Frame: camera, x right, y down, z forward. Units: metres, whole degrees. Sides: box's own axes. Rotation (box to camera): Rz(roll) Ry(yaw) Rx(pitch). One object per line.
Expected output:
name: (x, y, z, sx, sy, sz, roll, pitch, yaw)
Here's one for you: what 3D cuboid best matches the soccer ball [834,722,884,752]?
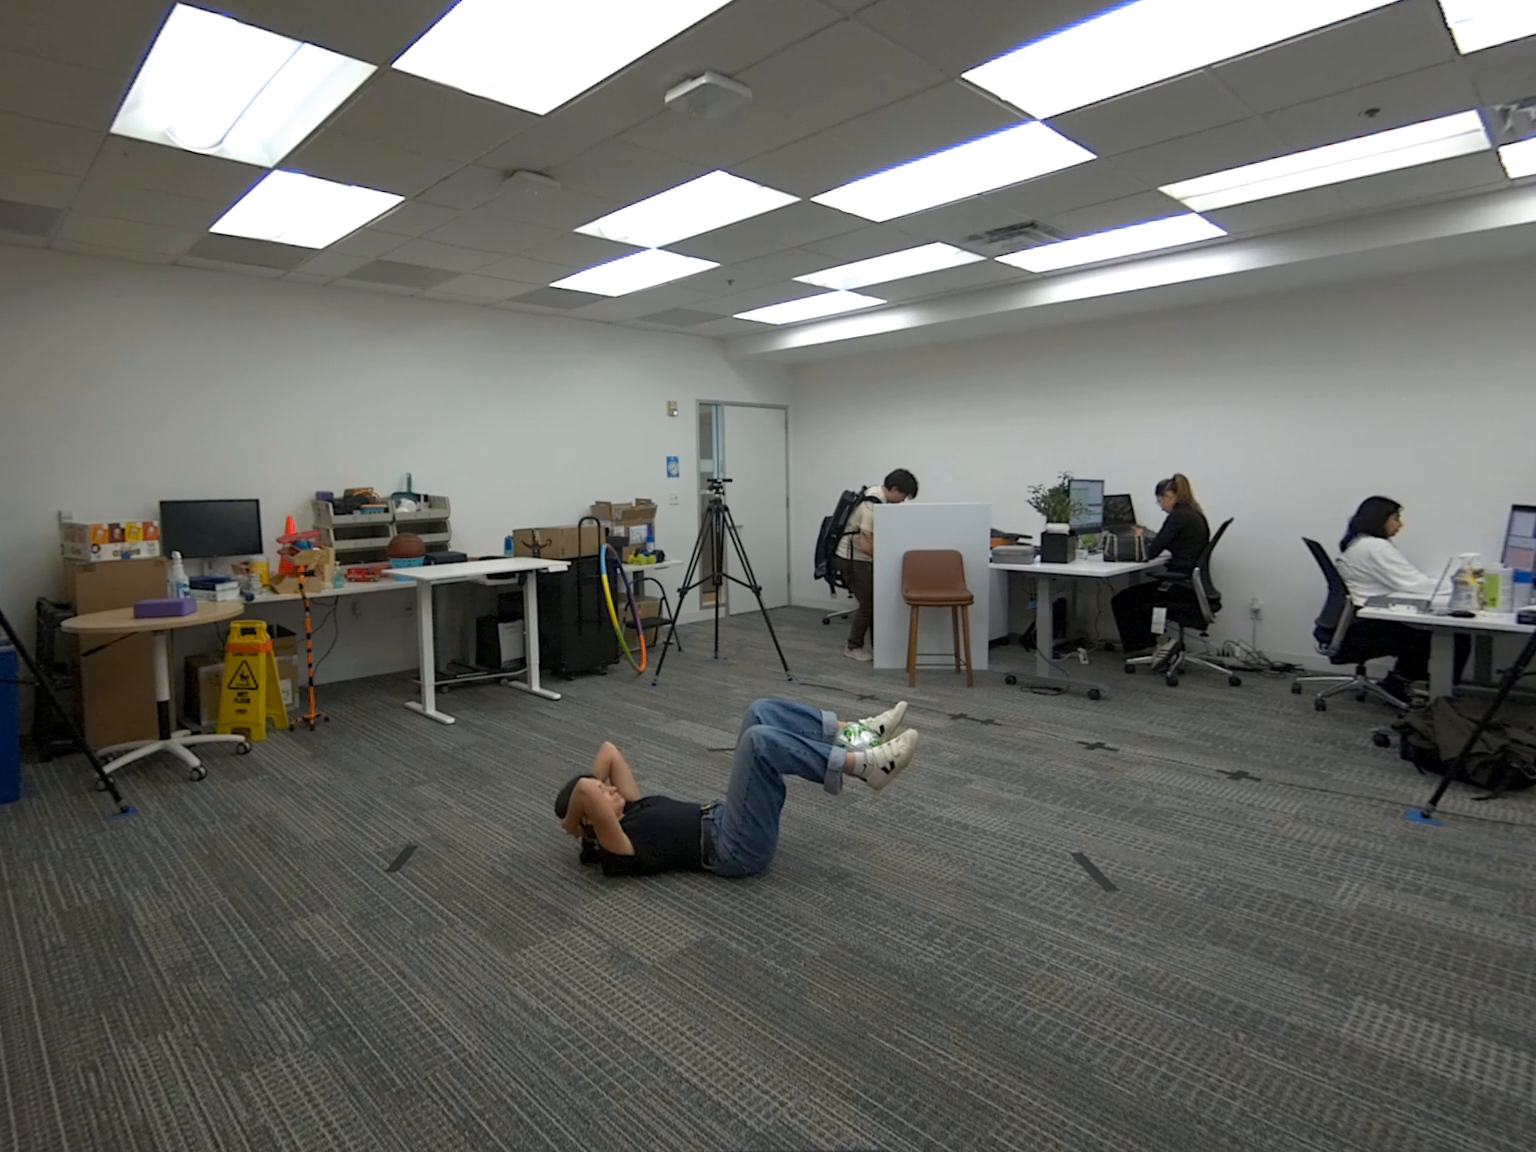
soccer ball: (0.327, 0.623, 3.070, 0.187, 0.187, 0.188, 0, 1, -2)
